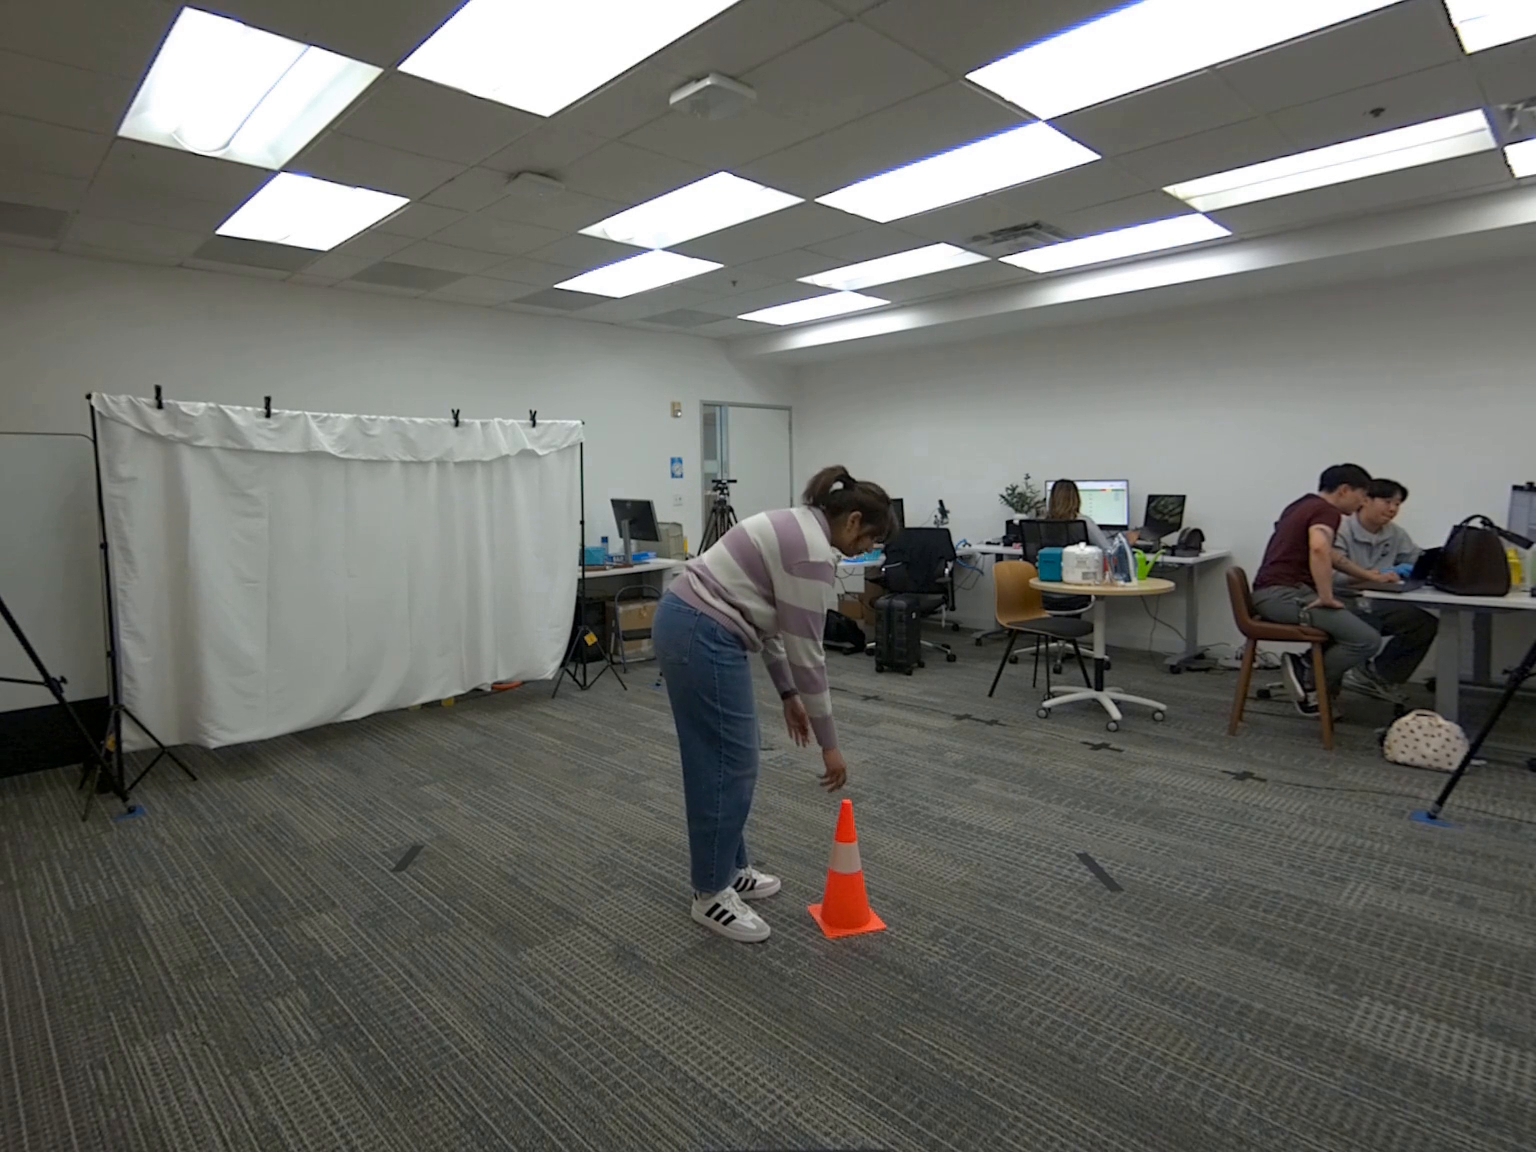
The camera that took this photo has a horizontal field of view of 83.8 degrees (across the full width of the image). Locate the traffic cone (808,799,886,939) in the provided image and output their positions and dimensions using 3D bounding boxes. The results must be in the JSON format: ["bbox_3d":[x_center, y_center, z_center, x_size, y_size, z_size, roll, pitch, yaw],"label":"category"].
[{"bbox_3d":[0.246,0.897,2.710,0.200,0.383,0.208,0,2,-16],"label":"traffic cone"}]
